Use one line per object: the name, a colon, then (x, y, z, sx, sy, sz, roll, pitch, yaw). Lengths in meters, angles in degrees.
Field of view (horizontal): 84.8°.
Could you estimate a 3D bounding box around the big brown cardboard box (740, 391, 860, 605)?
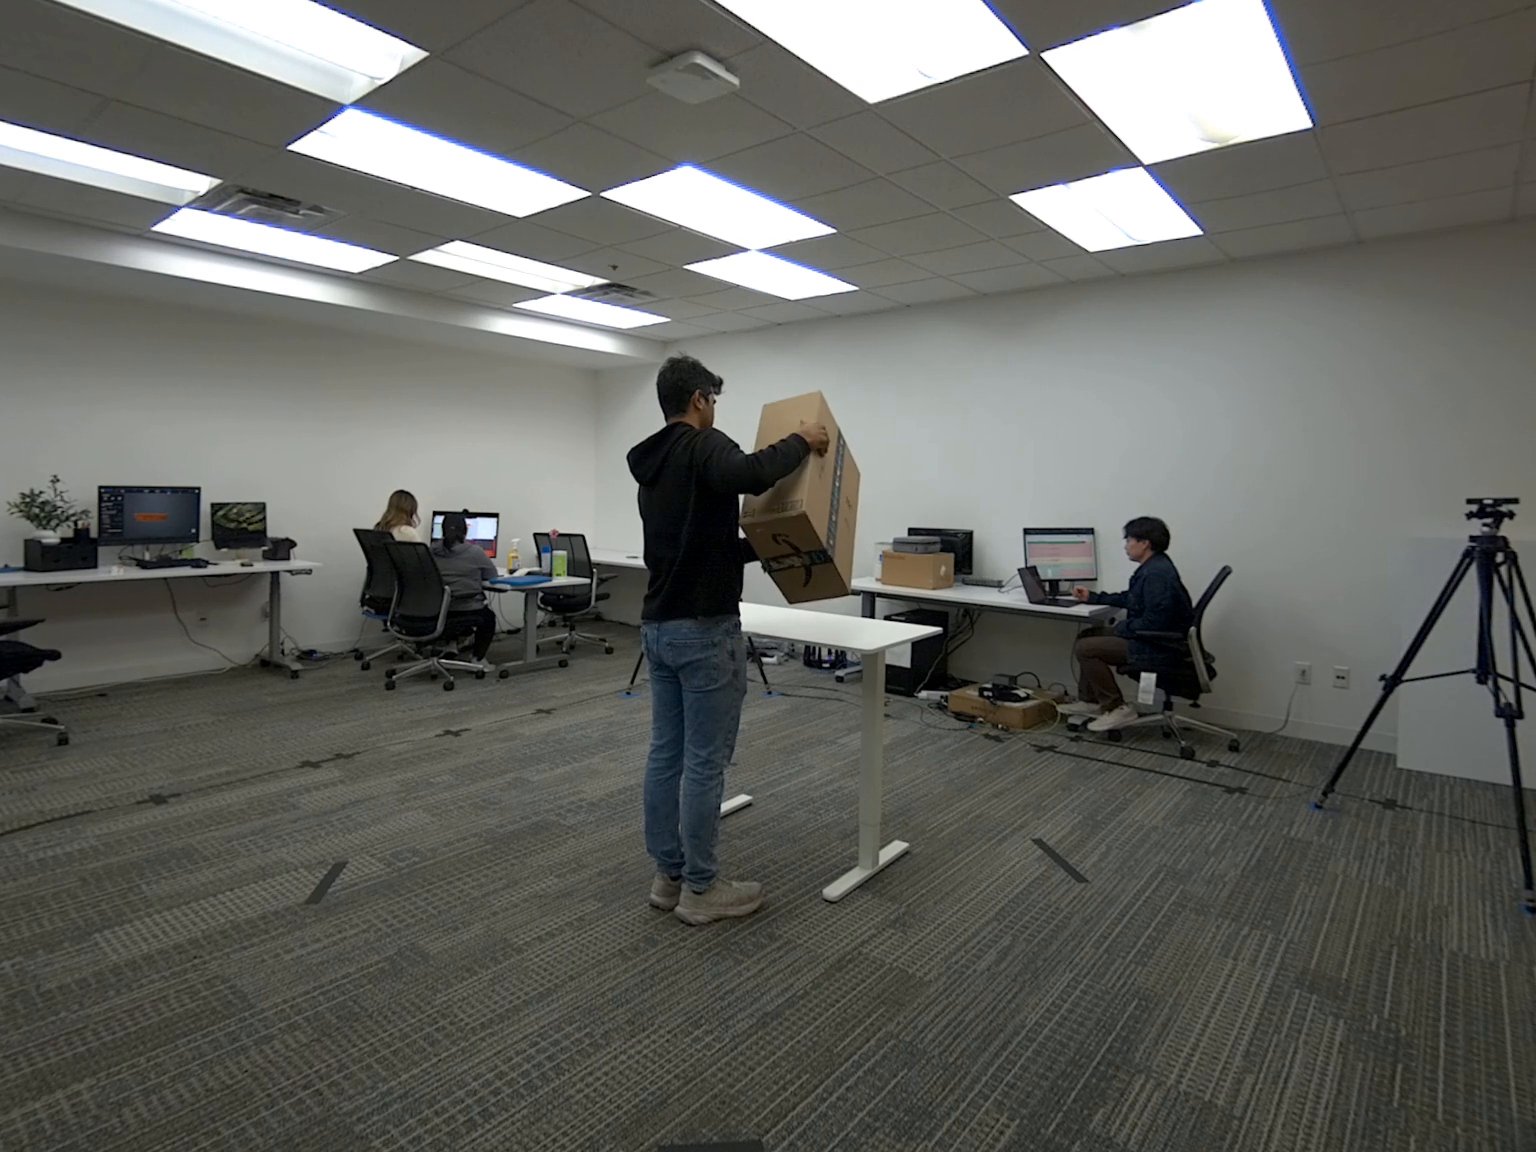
big brown cardboard box: (0.108, -0.248, 2.823, 0.238, 0.601, 0.401, -10, -44, 24)
